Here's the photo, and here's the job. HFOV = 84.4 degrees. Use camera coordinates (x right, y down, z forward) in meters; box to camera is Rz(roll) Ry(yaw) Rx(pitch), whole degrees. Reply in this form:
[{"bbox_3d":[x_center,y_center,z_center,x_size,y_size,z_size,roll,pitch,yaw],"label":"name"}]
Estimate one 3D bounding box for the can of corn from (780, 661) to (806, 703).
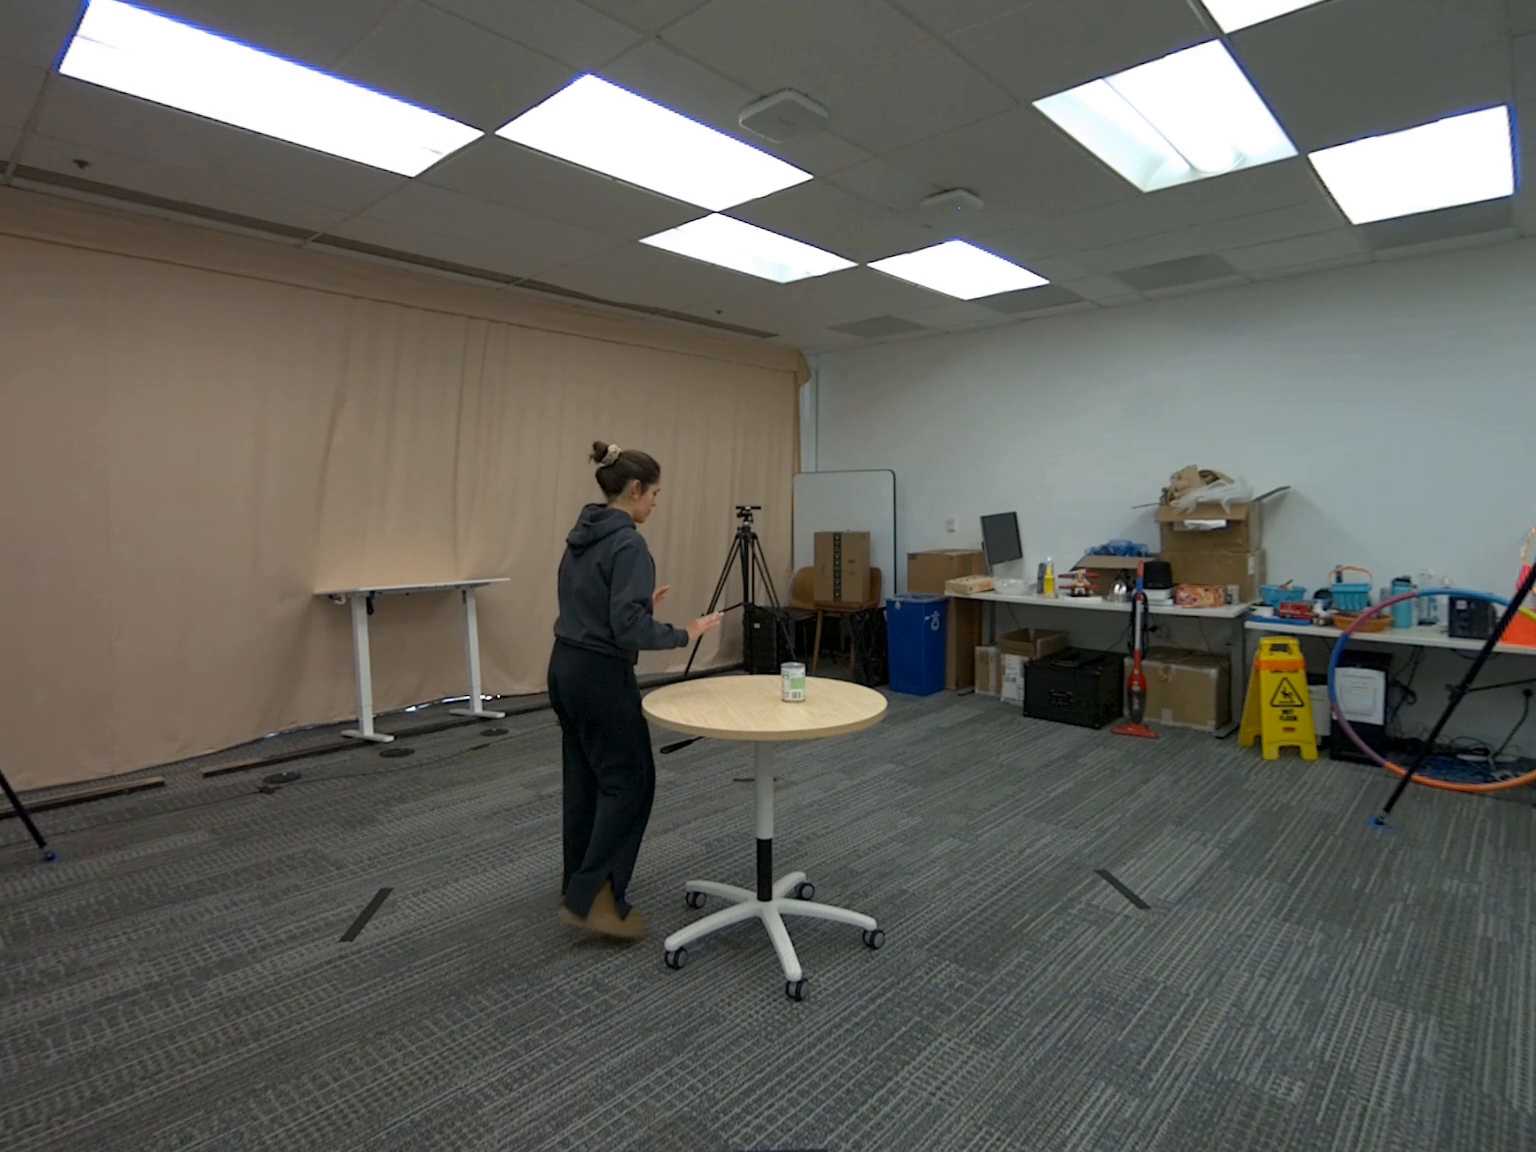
[{"bbox_3d":[0.096,0.332,2.616,0.074,0.111,0.074,0,5,-2],"label":"can of corn"}]
